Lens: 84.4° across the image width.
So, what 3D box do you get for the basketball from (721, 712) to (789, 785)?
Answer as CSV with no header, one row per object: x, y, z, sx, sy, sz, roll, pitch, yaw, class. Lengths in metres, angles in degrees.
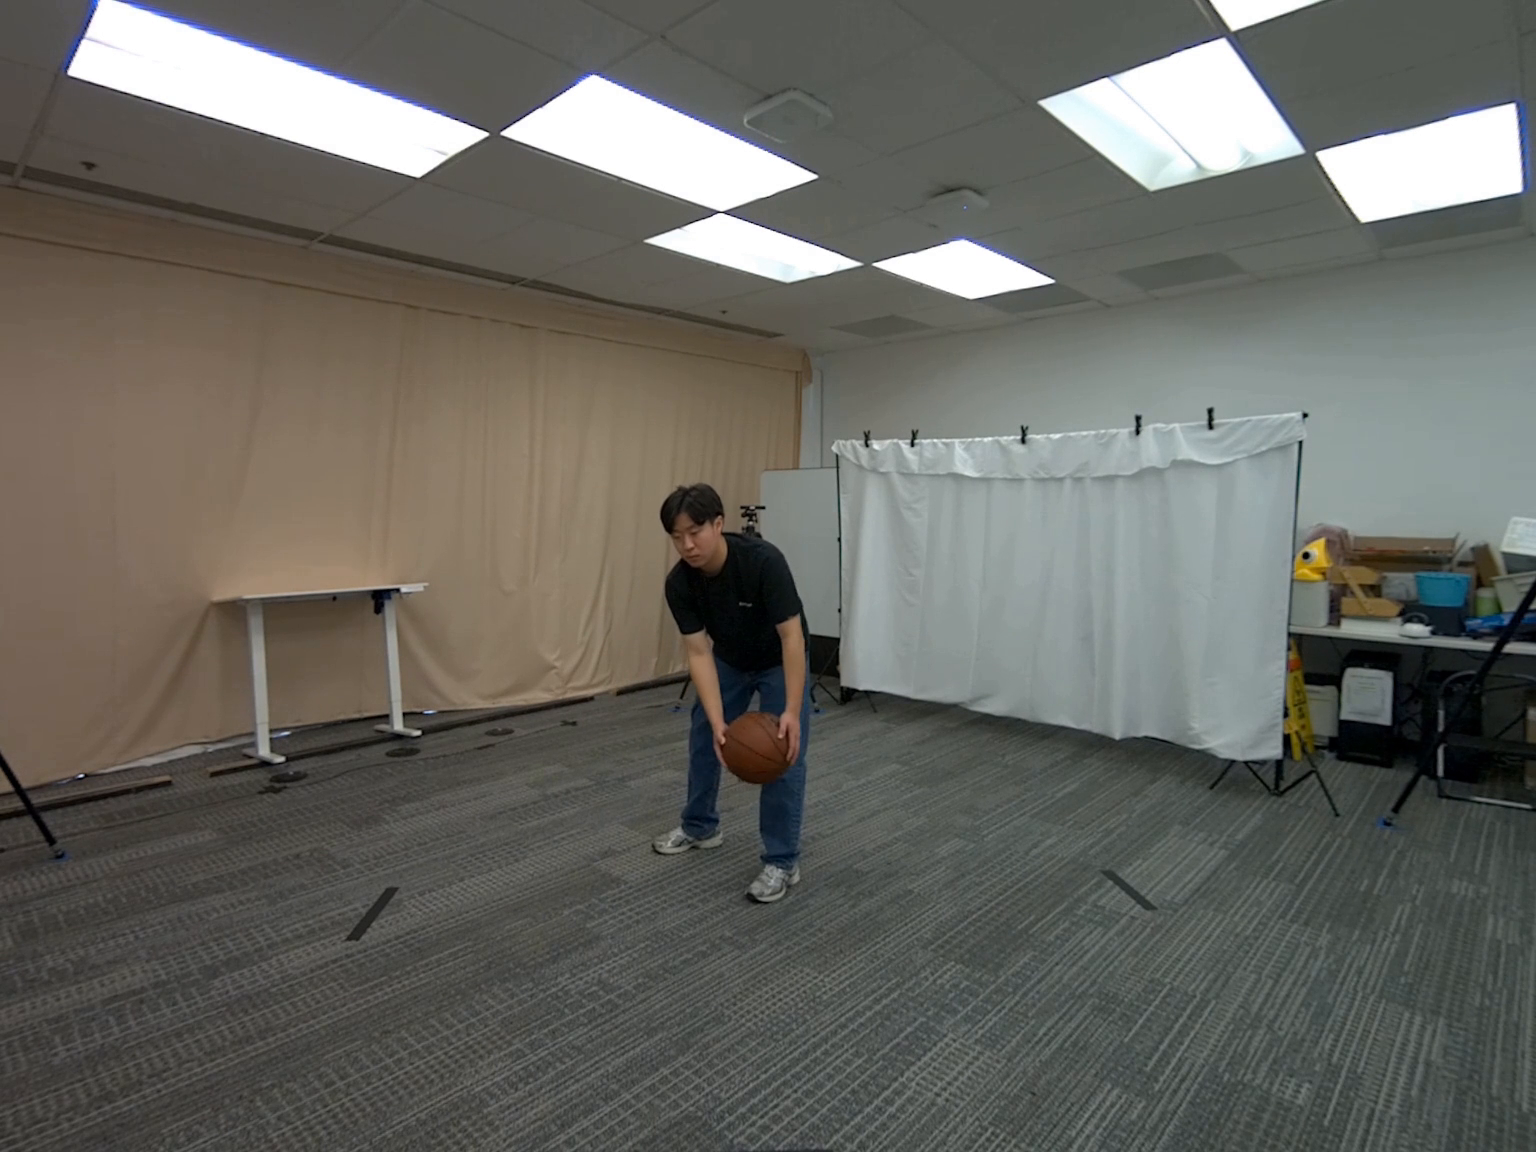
-0.028,0.568,2.817,0.236,0.235,0.237,0,4,-2,basketball
